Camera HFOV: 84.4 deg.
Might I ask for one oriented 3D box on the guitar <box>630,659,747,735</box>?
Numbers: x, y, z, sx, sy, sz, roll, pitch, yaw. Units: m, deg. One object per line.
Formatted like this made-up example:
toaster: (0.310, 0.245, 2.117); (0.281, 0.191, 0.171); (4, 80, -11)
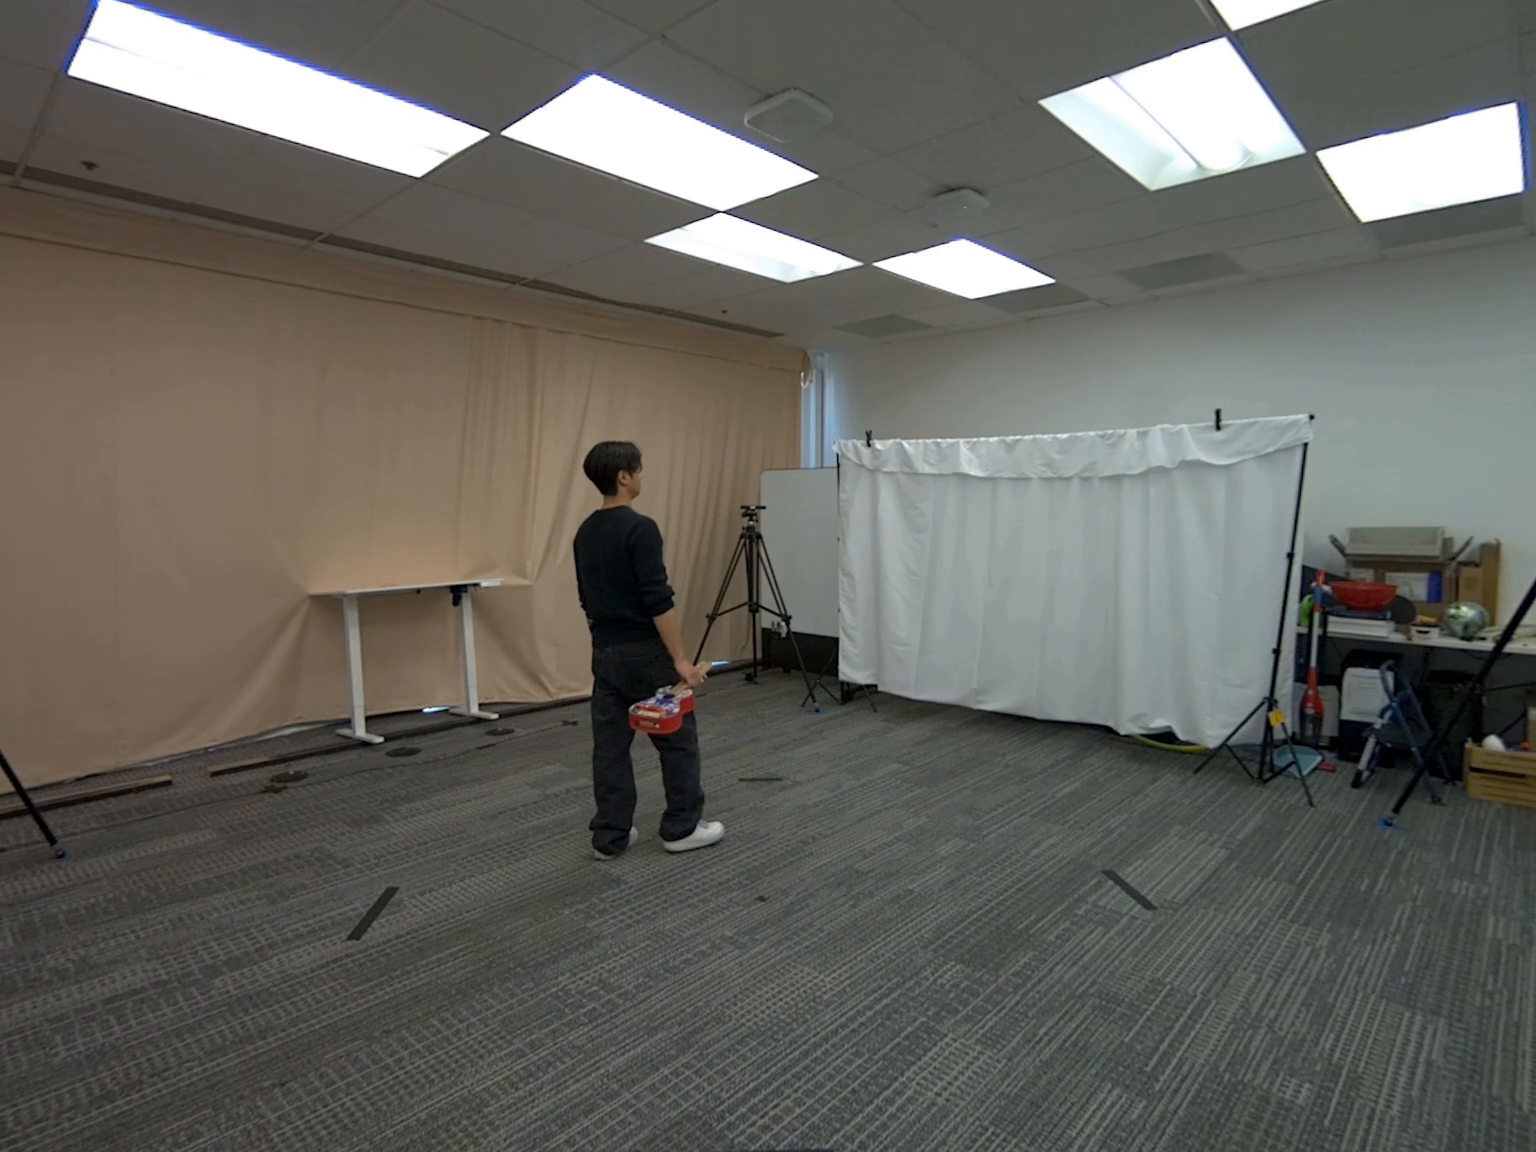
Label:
guitar: (-0.301, 0.447, 3.176); (0.199, 0.070, 0.488); (5, 20, 33)
